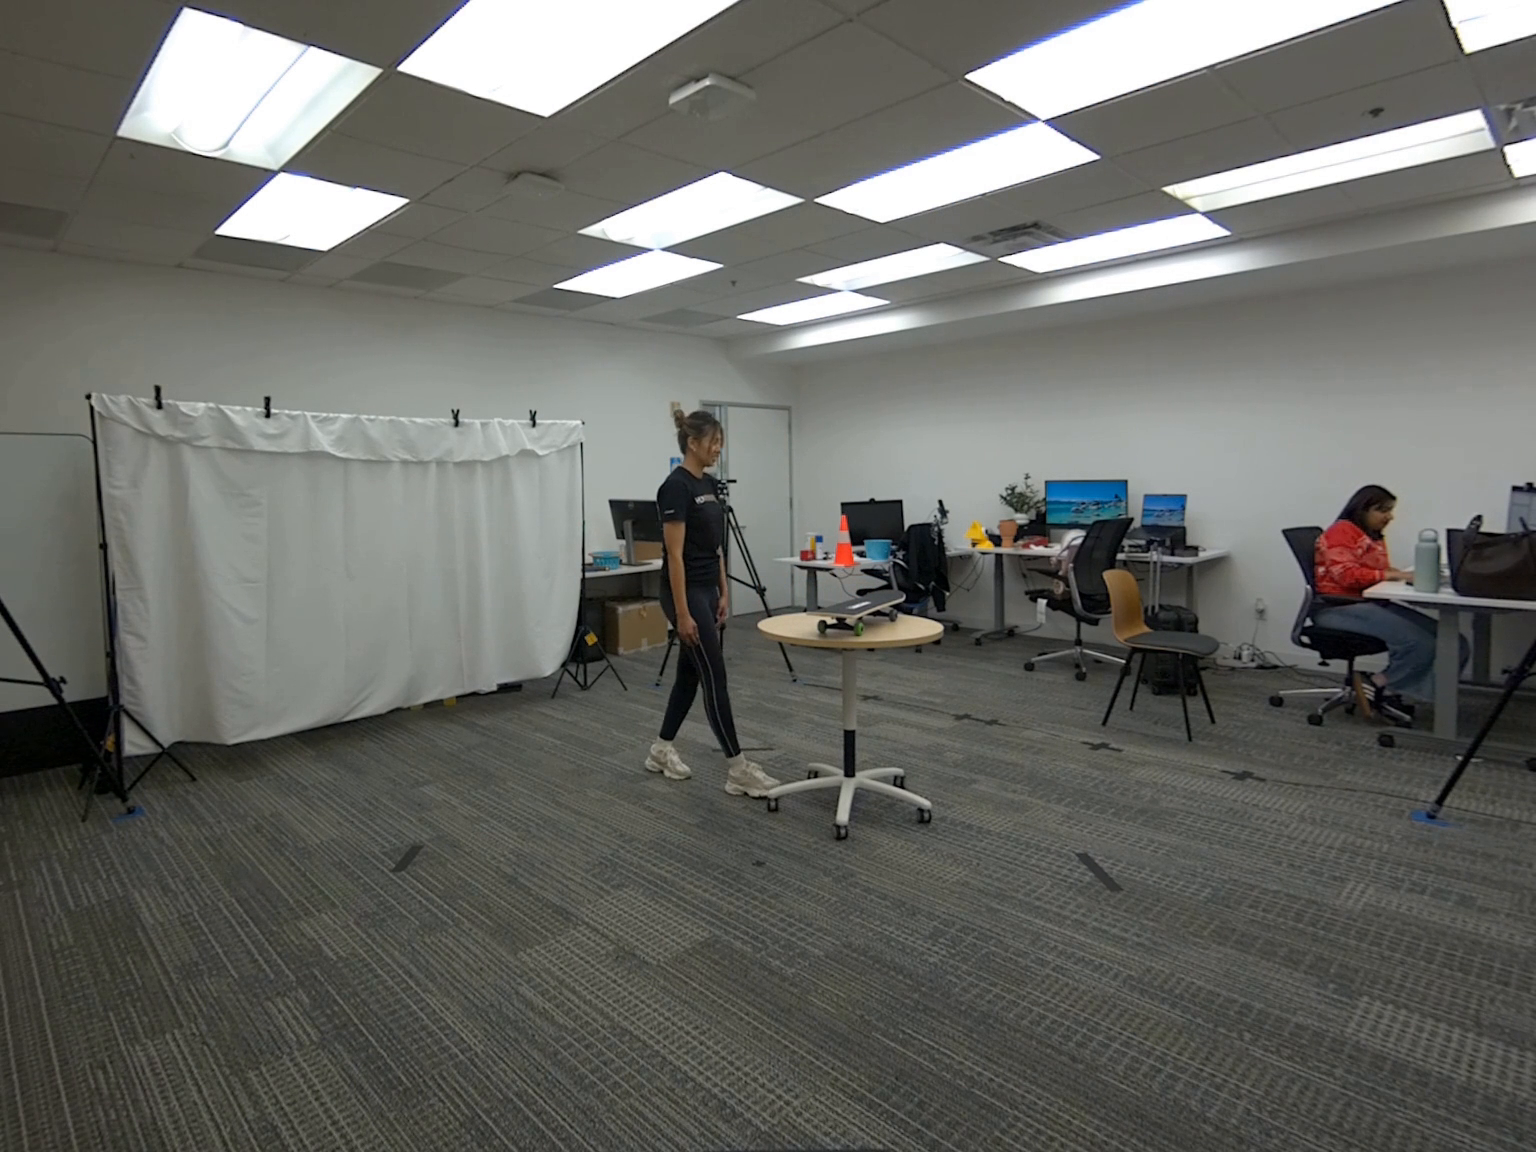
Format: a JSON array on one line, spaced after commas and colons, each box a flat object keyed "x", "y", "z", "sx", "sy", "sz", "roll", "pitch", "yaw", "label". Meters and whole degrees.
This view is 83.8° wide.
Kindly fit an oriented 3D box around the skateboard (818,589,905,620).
[{"x": 0.362, "y": 0.158, "z": 3.530, "sx": 0.198, "sy": 0.110, "sz": 0.769, "roll": 3, "pitch": 7, "yaw": 28, "label": "skateboard"}]
